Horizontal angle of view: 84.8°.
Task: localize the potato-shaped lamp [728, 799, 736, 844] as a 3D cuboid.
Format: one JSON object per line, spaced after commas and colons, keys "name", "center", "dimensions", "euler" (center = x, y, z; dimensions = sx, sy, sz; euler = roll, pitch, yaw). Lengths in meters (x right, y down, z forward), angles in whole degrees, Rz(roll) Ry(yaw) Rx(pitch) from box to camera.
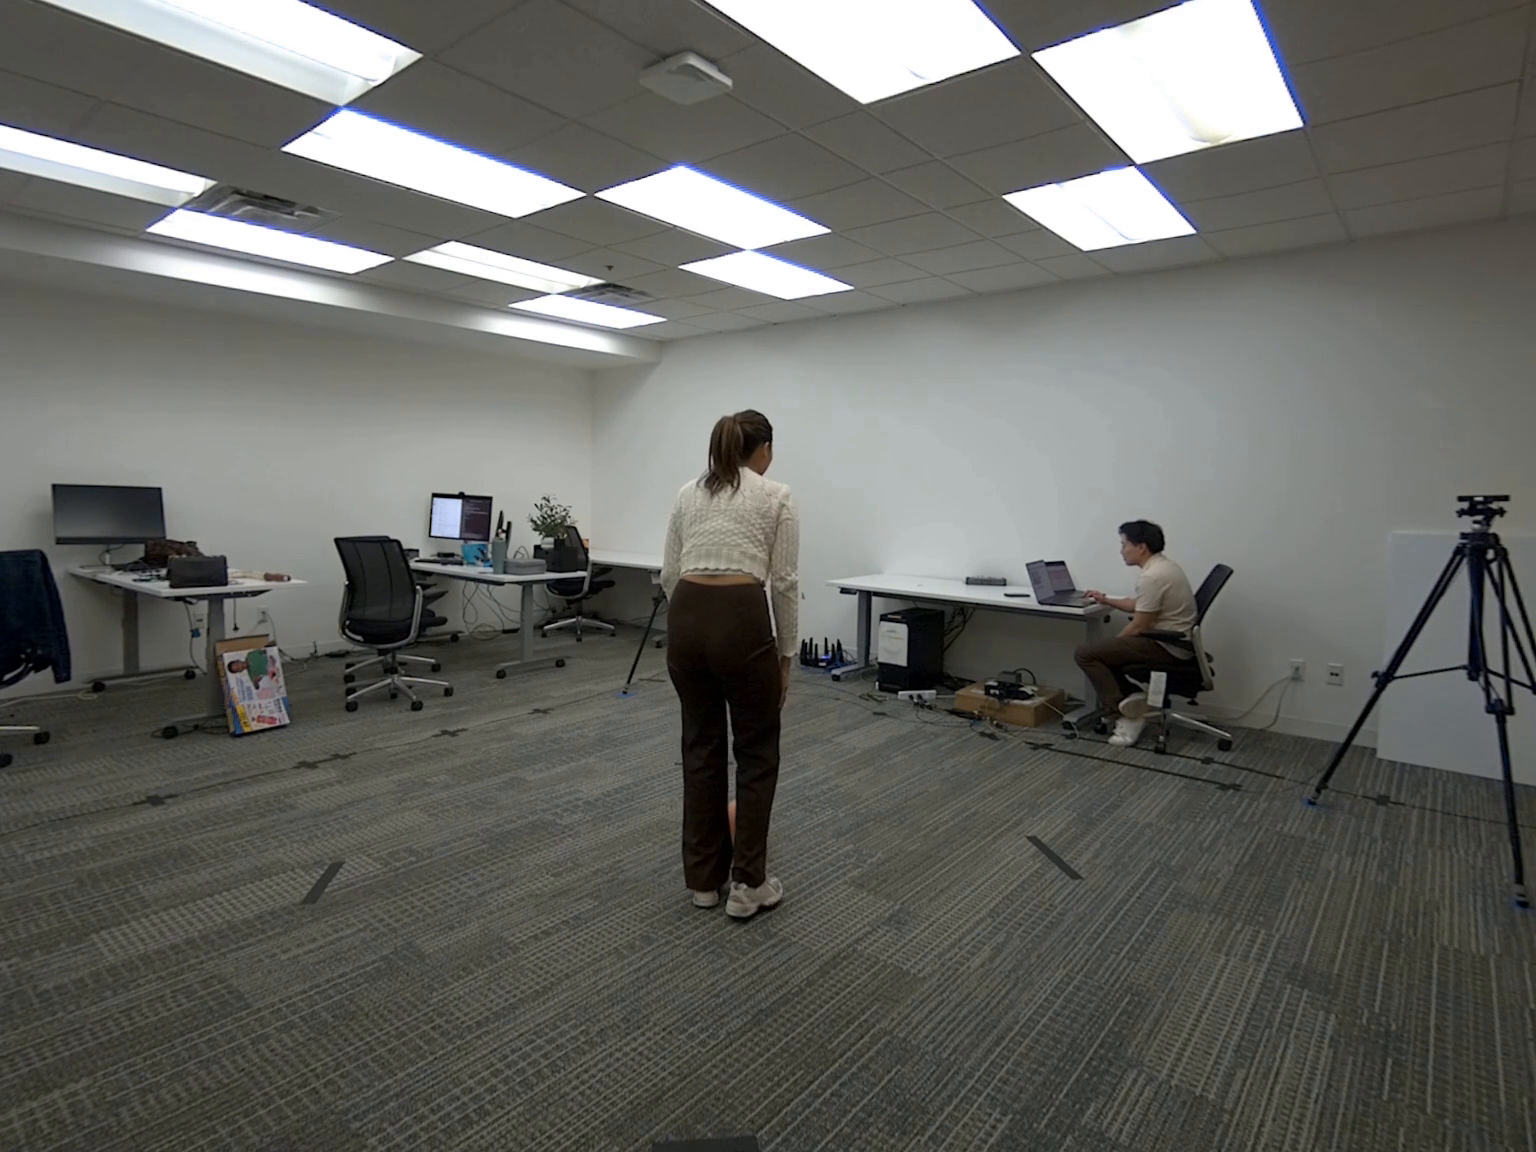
{"name": "potato-shaped lamp", "center": [-0.102, 0.943, 3.273], "dimensions": [0.166, 0.197, 0.170], "euler": [1, 5, 8]}
